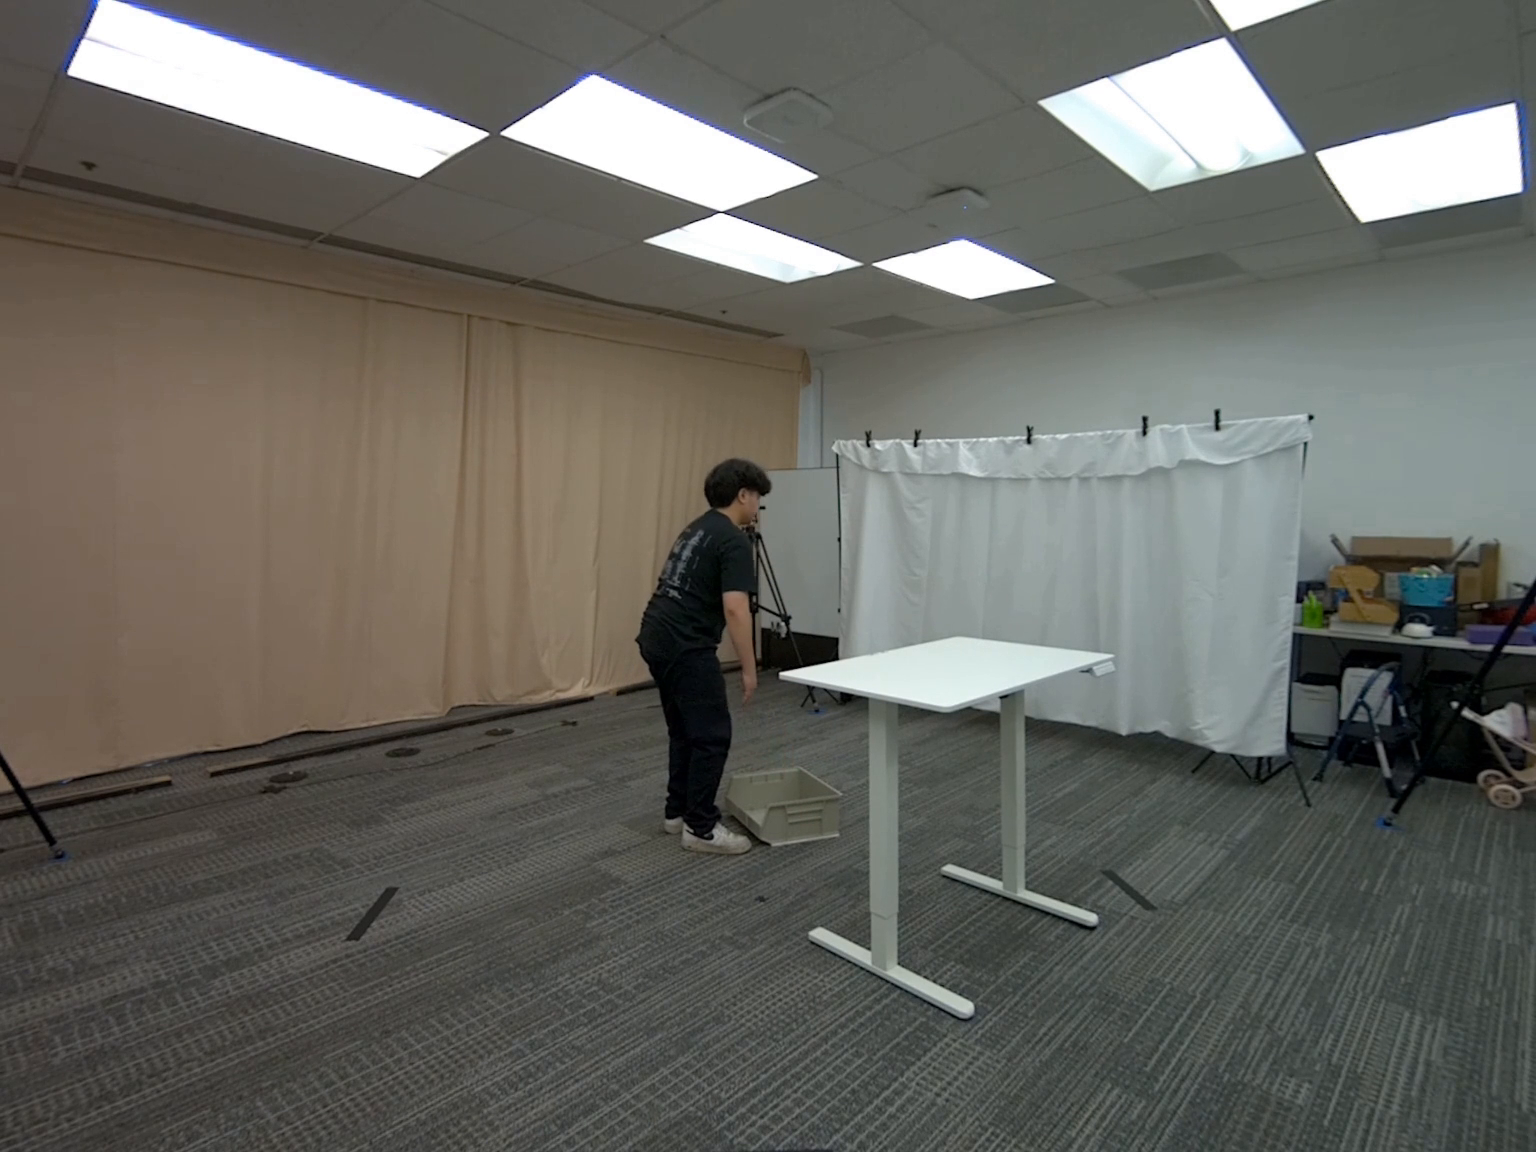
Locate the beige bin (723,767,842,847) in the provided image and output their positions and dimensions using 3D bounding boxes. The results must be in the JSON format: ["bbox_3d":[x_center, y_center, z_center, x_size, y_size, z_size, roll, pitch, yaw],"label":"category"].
[{"bbox_3d":[0.059,1.001,3.668,0.369,0.188,0.432,-1,4,-22],"label":"beige bin"}]
